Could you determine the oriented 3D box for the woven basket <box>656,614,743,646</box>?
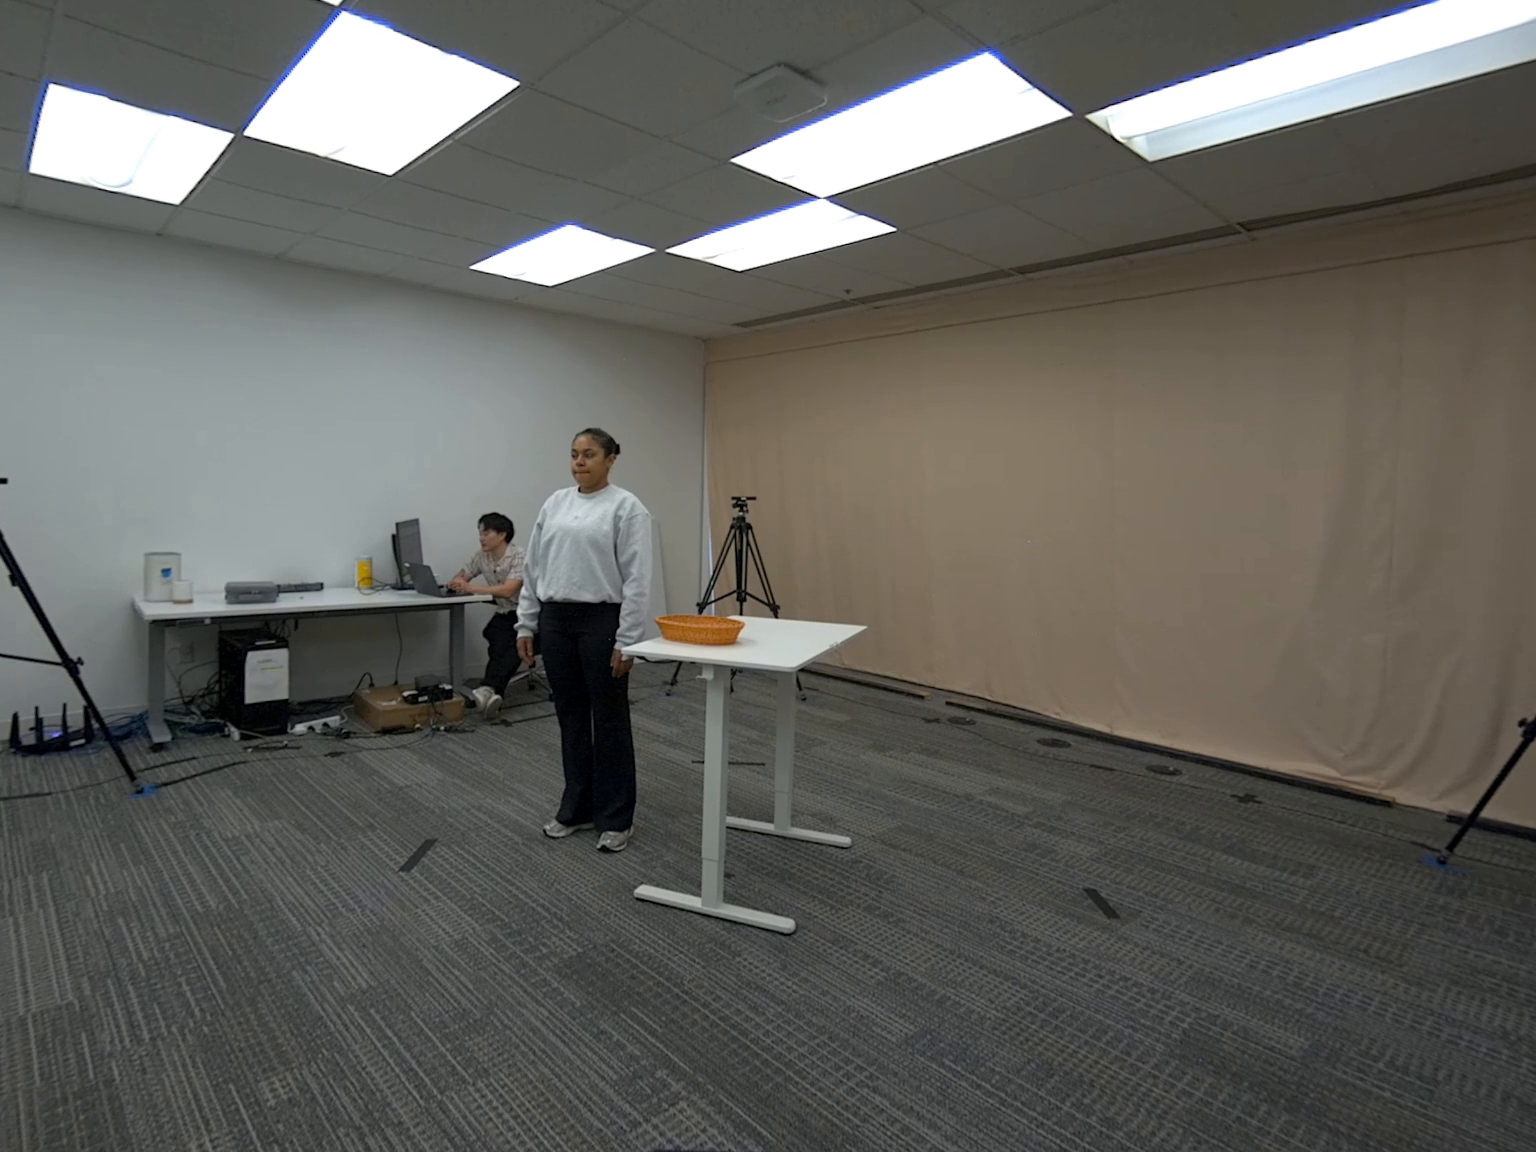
[{"bbox_3d":[-0.249,0.202,3.007,0.359,0.073,0.247,5,6,38],"label":"woven basket"}]
